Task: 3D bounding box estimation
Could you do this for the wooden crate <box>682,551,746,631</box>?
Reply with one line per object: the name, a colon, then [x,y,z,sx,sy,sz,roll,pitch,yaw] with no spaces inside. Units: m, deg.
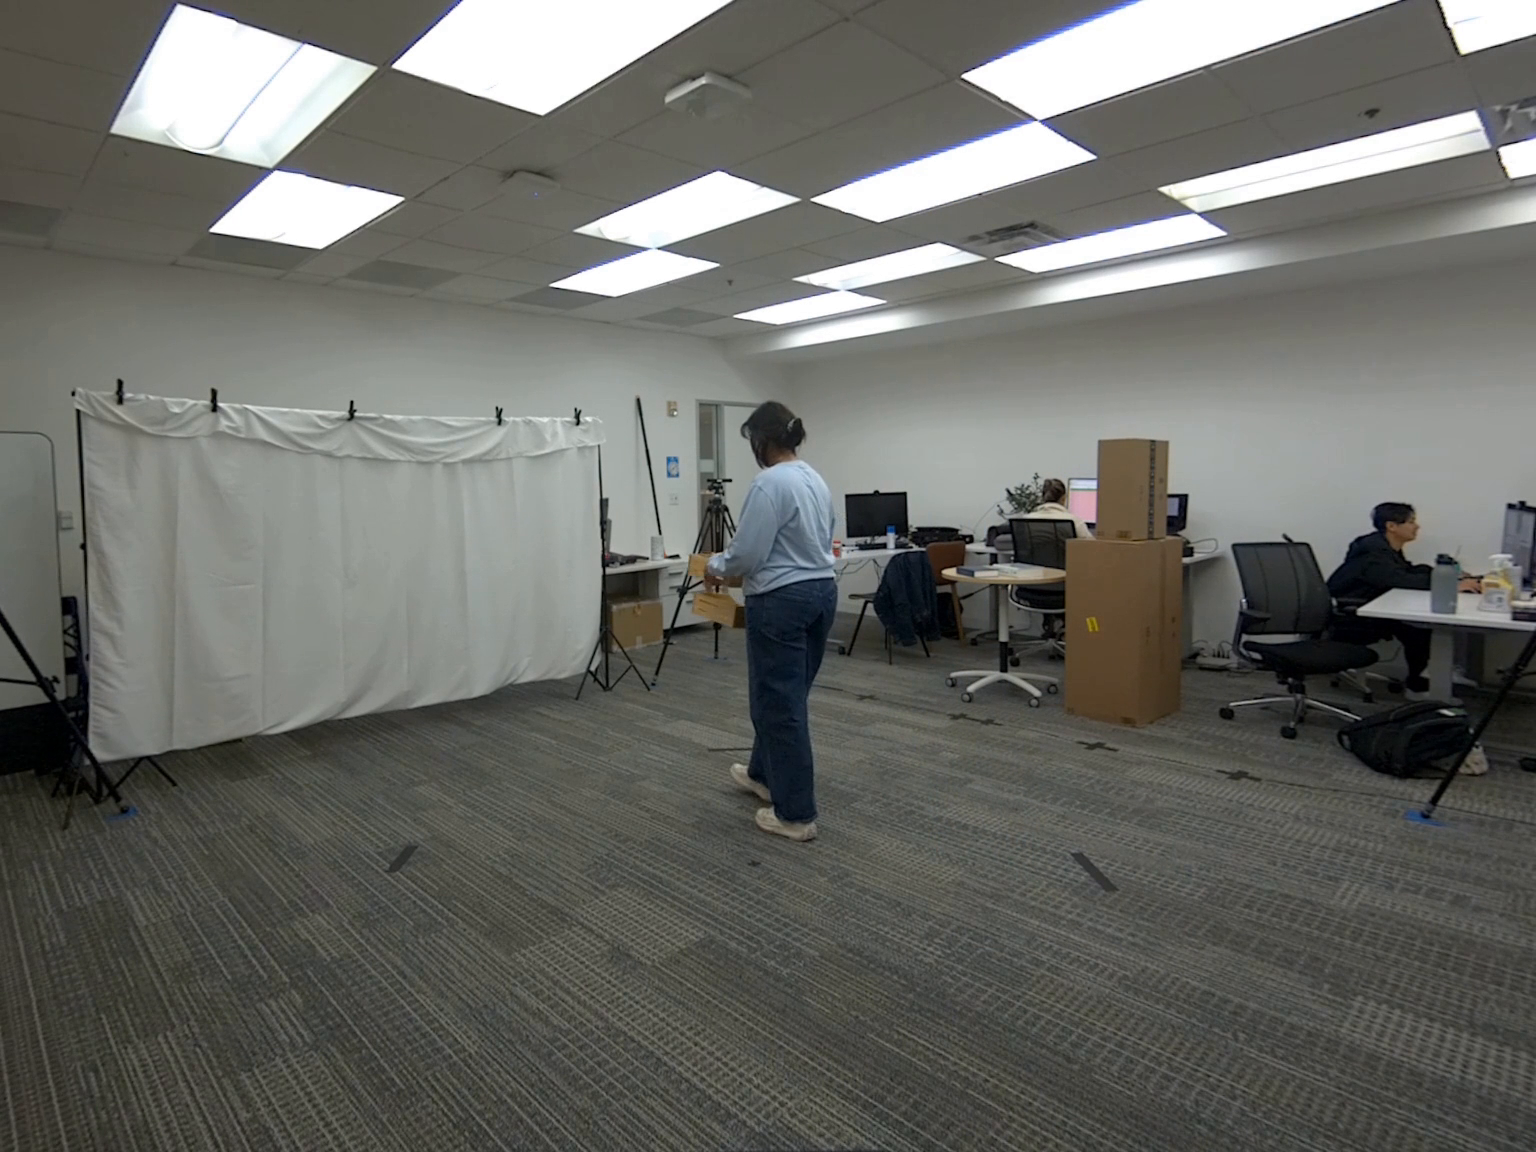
wooden crate: [-0.135,0.062,3.677,0.293,0.272,0.335,4,7,-40]
